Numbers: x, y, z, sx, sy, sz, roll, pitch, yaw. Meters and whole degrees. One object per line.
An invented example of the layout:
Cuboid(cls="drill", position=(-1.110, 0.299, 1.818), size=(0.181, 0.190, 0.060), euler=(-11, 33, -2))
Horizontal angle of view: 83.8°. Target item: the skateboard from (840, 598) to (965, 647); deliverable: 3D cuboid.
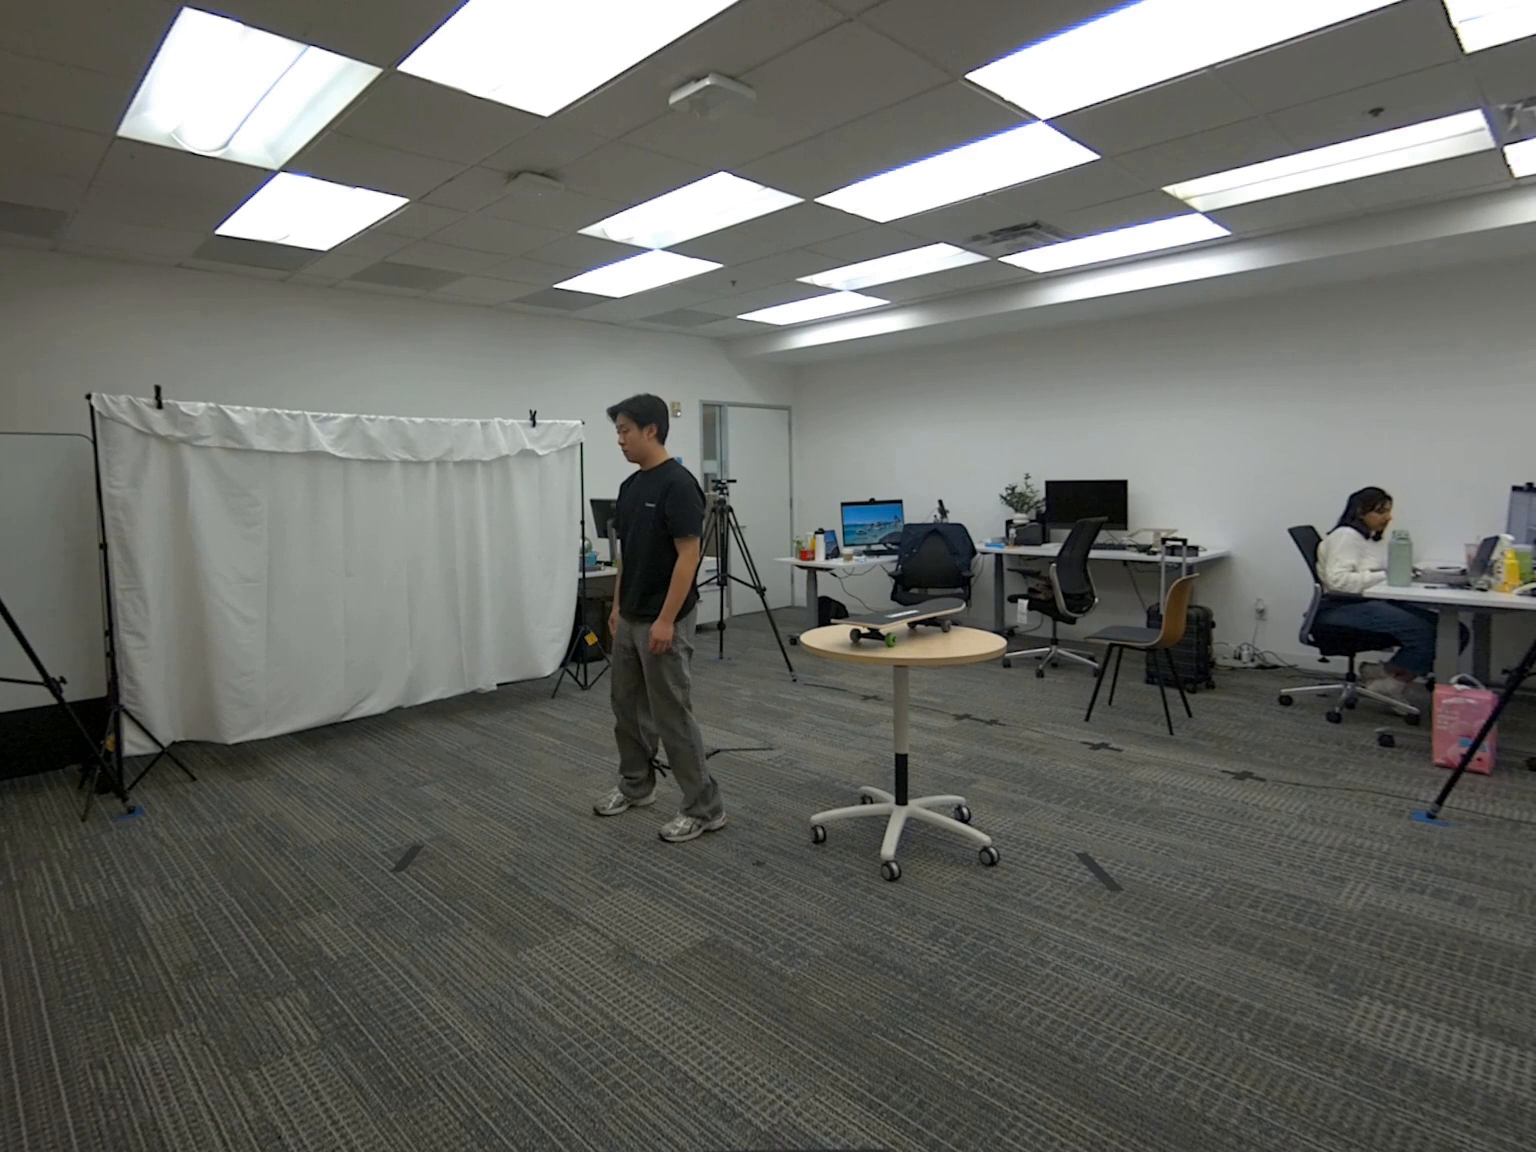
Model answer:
Cuboid(cls="skateboard", position=(0.516, 0.185, 3.266), size=(0.199, 0.110, 0.765), euler=(5, 8, 41))
